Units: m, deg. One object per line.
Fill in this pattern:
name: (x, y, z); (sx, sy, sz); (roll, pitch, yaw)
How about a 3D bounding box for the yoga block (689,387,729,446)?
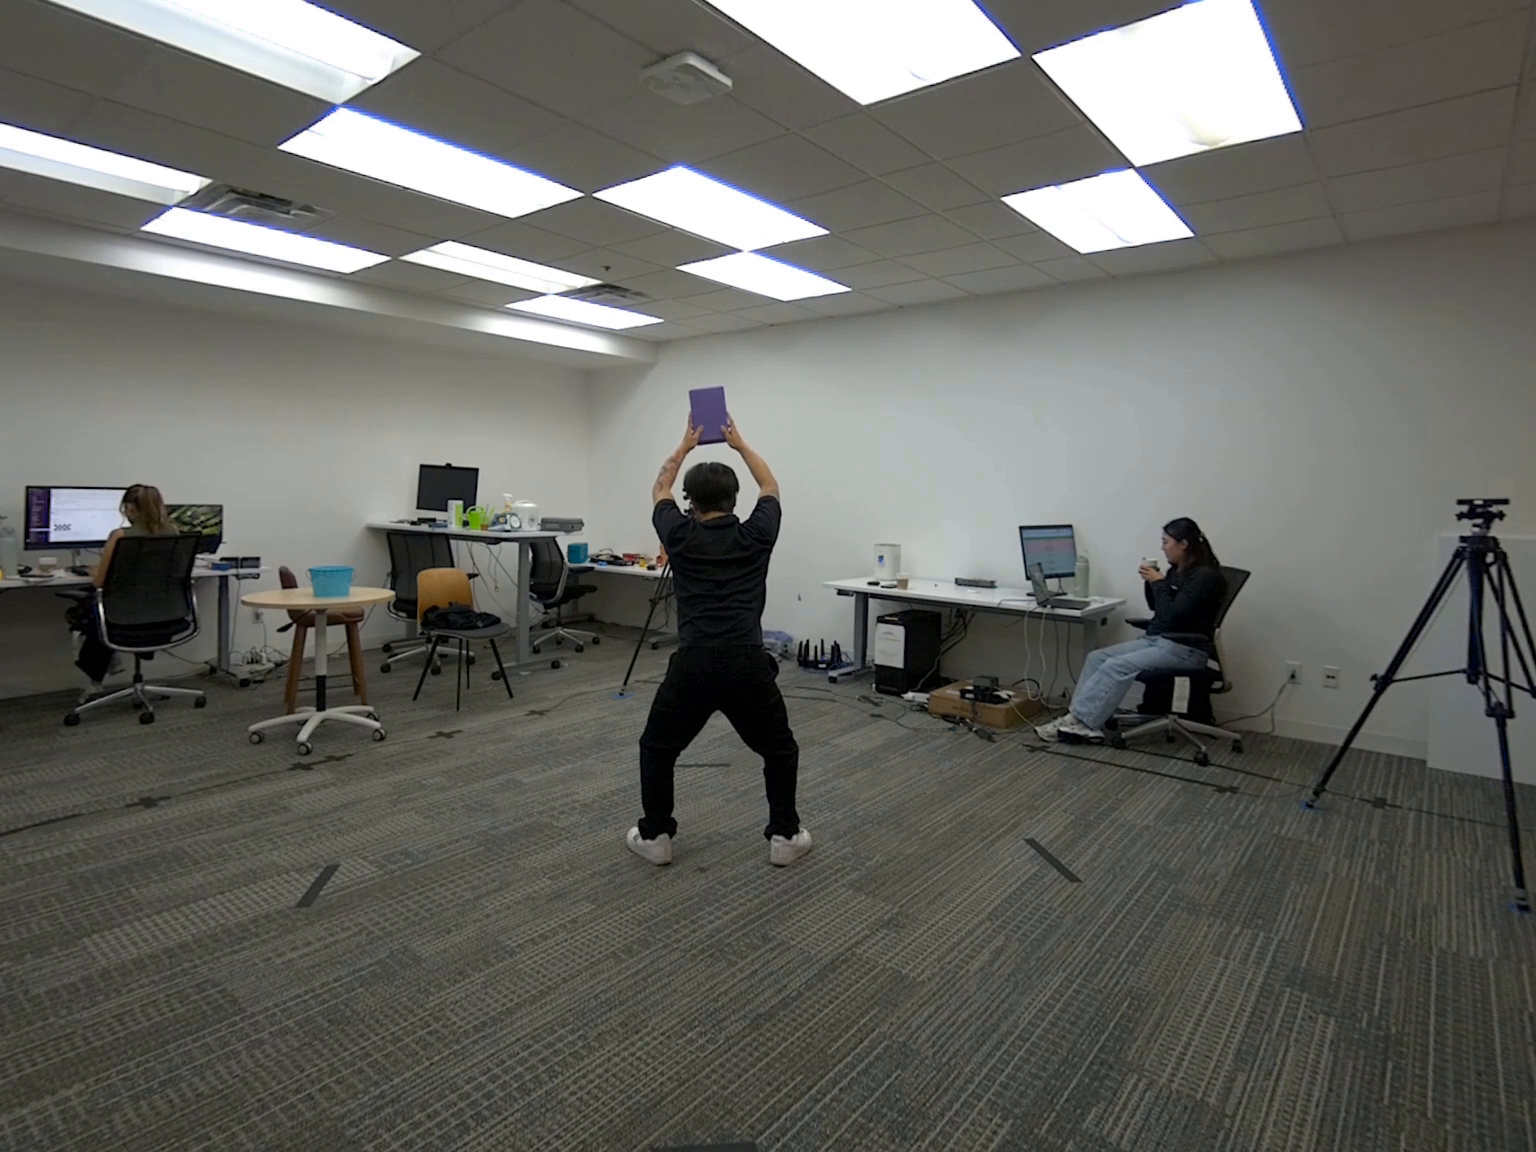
yoga block: (-0.258, -0.681, 3.576); (0.149, 0.230, 0.076); (-7, -3, 1)
